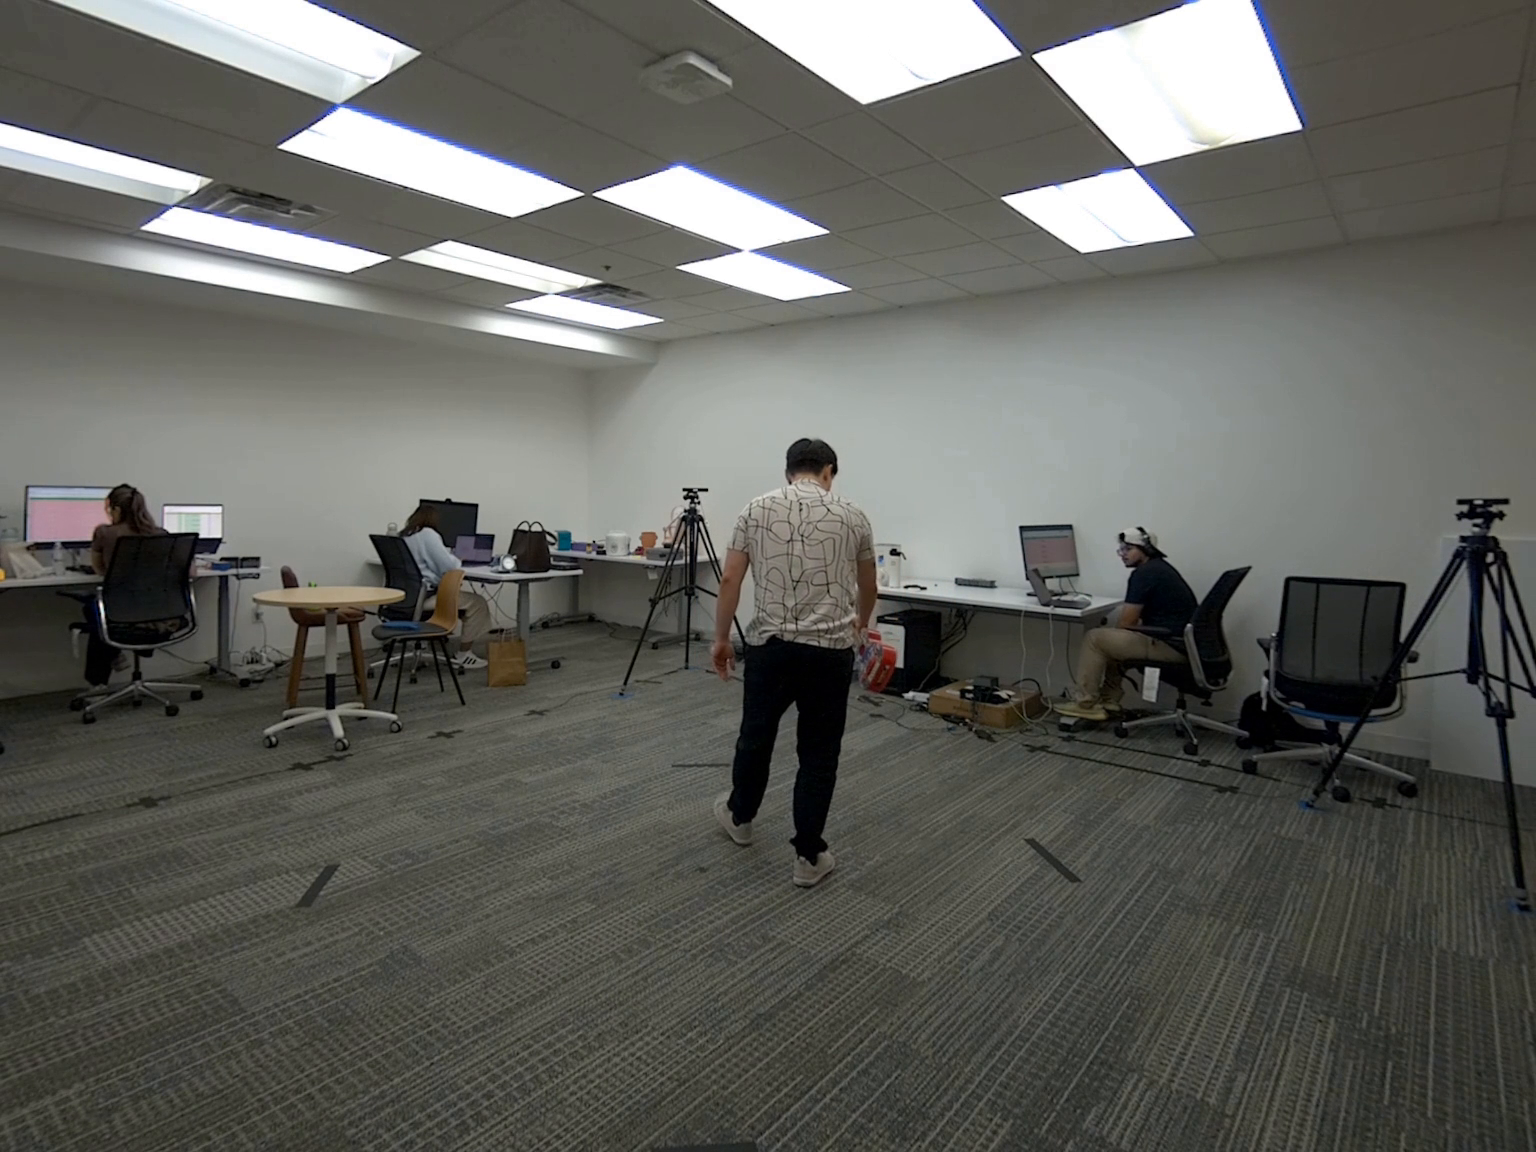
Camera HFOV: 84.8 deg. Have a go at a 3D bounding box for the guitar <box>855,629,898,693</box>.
[{"bbox_3d":[0.384,0.239,3.395,0.069,0.191,0.513,15,32,-17],"label":"guitar"}]
